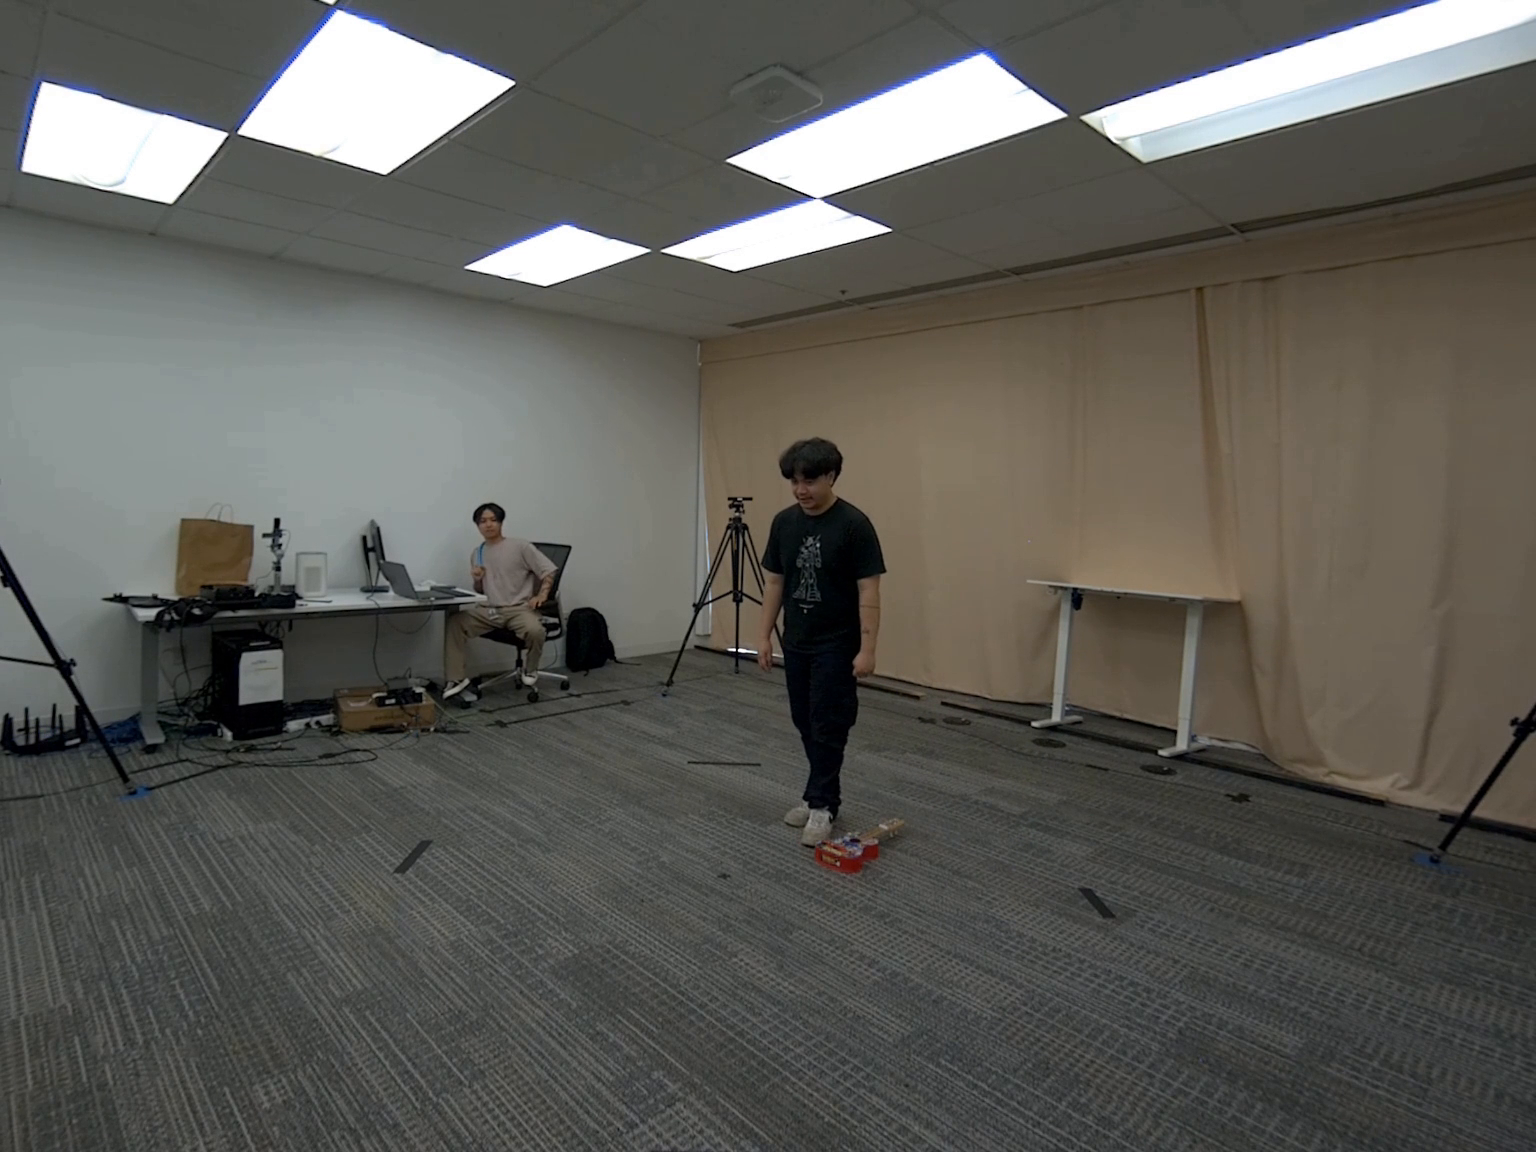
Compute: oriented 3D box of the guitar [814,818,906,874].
[{"bbox_3d":[0.404,1.068,3.344,0.487,0.070,0.198,-3,5,-38],"label":"guitar"}]
